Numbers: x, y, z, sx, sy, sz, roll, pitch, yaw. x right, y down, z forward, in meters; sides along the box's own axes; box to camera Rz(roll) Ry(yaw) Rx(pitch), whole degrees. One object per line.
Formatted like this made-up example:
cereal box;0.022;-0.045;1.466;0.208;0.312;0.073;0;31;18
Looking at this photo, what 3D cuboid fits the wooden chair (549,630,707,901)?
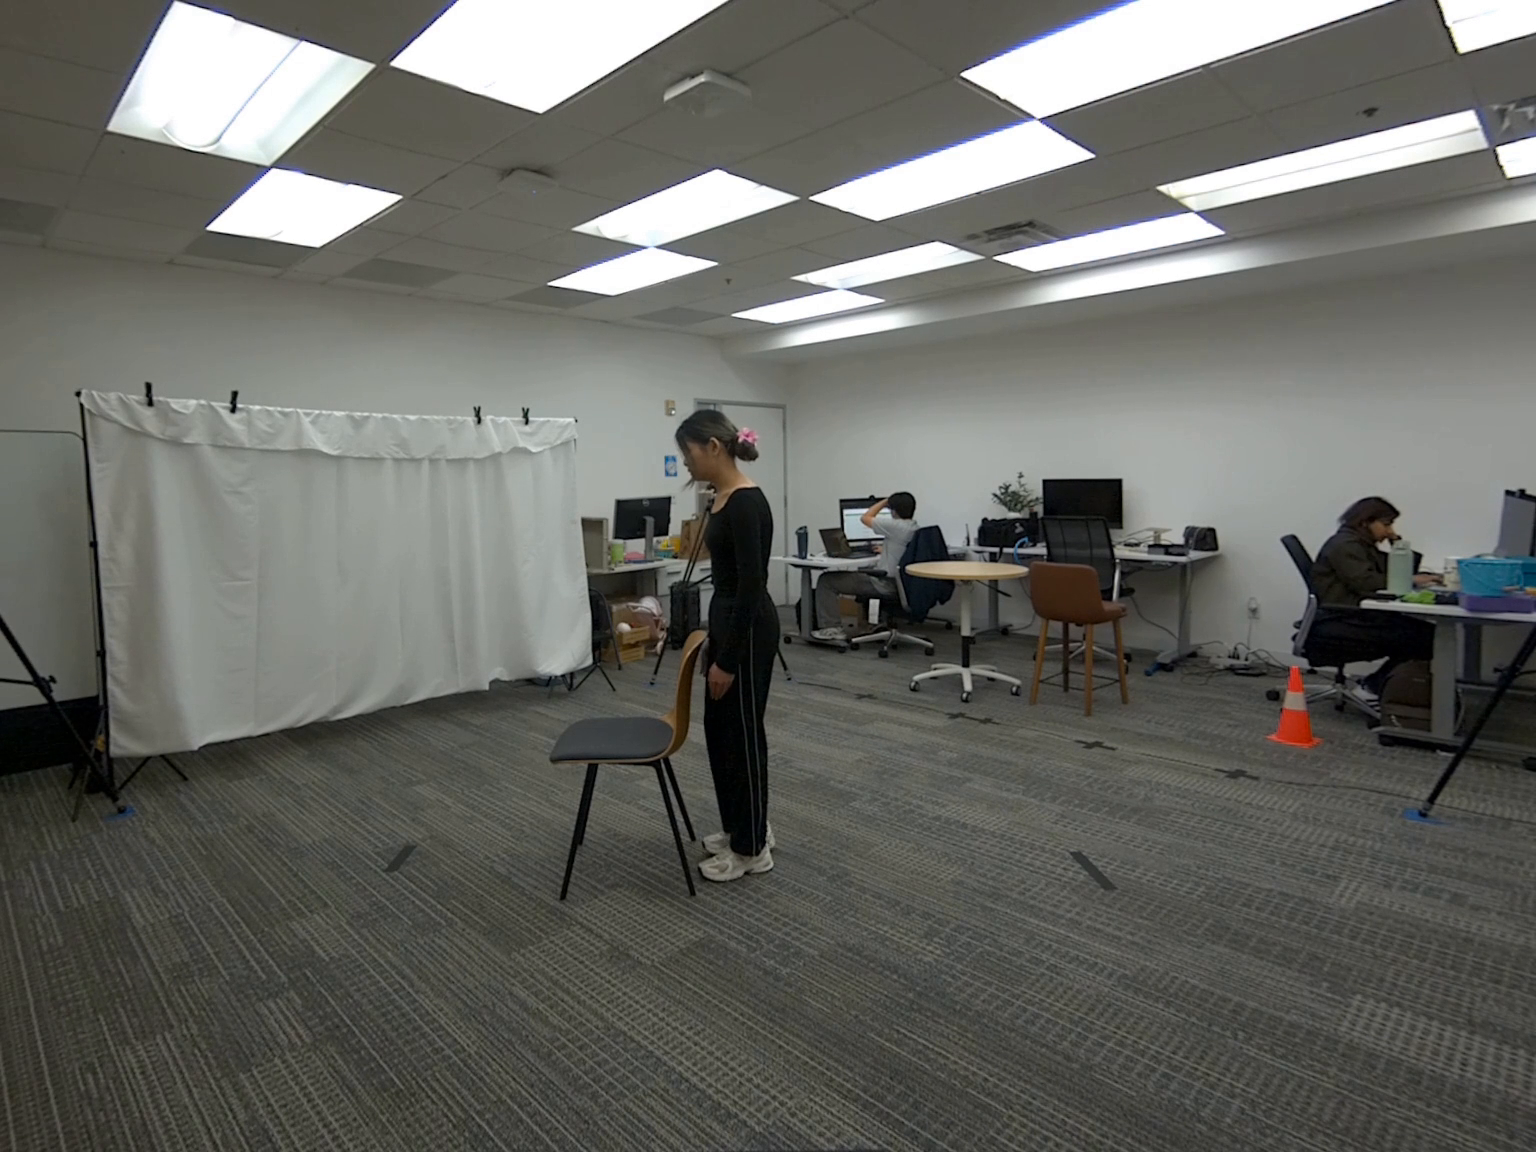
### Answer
wooden chair;-0.501;0.630;3.037;0.521;0.874;0.482;3;5;-4
